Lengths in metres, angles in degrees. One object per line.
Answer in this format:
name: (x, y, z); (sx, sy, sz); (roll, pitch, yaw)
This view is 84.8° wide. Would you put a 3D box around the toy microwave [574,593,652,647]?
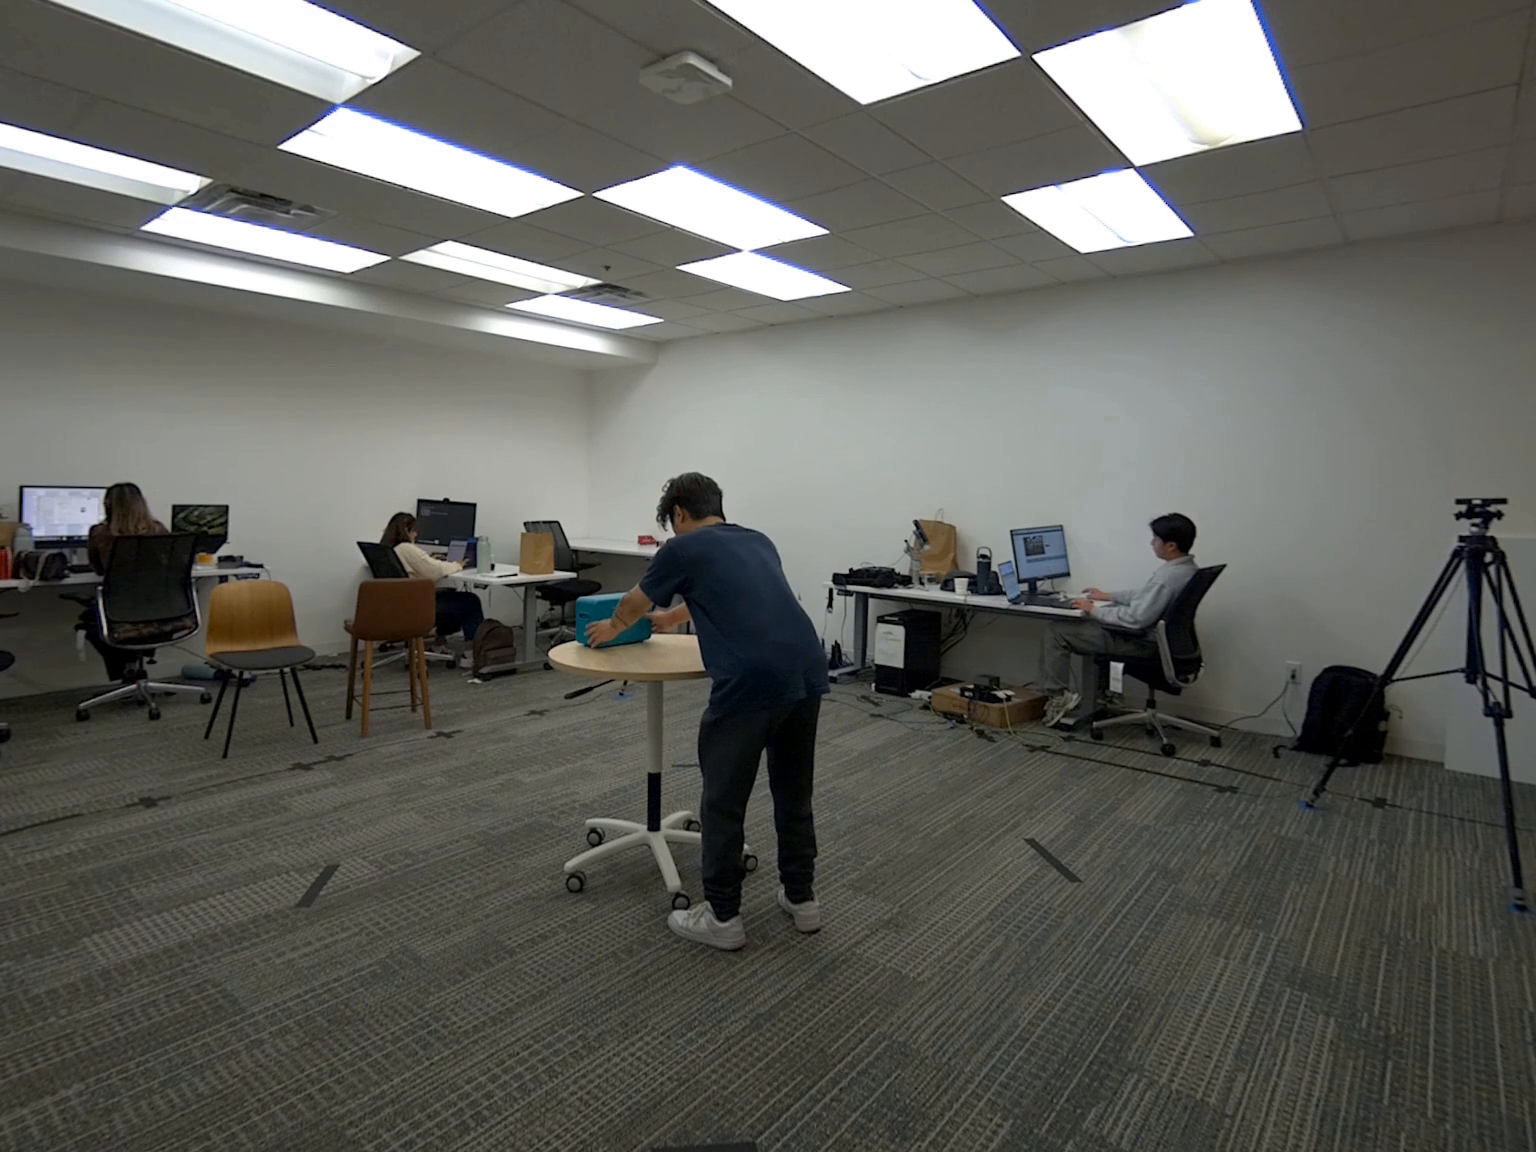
toy microwave: (-0.607, 0.163, 3.242); (0.157, 0.183, 0.278); (4, 6, 42)
